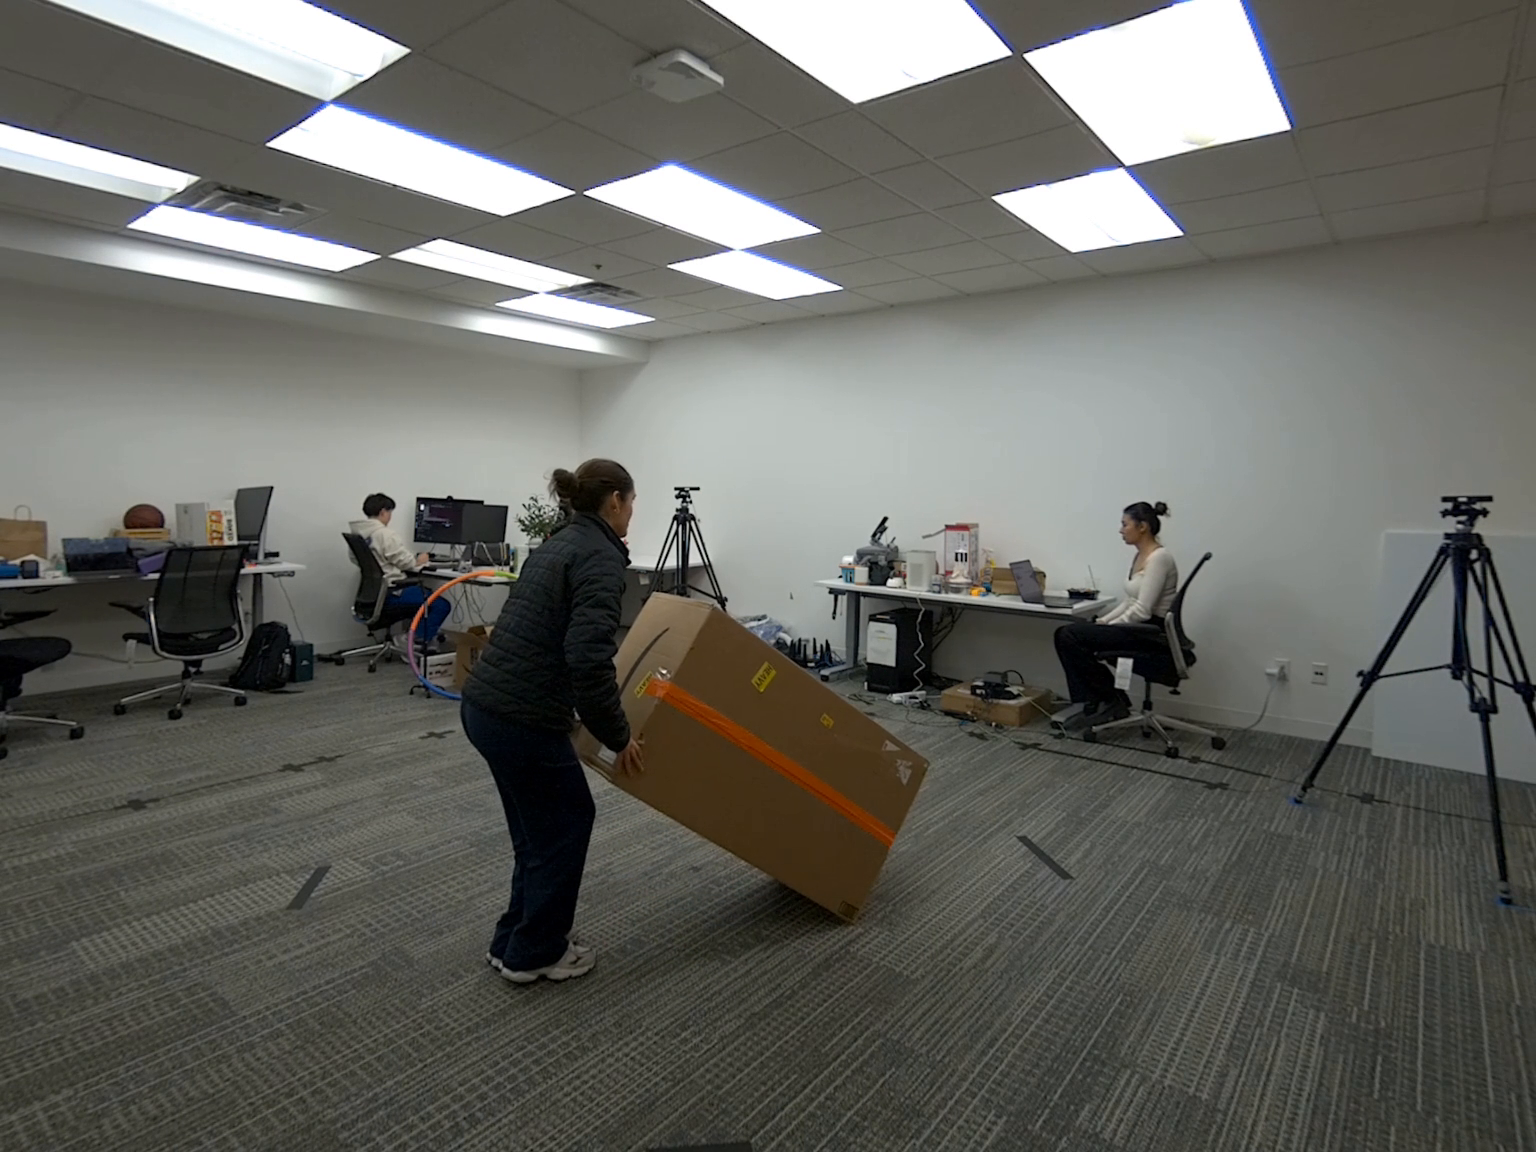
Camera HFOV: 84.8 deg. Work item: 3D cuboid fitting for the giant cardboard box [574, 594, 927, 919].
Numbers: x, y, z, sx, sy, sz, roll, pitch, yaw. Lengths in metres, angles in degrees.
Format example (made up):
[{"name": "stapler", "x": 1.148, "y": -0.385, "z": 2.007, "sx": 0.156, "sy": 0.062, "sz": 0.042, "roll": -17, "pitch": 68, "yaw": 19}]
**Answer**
[{"name": "giant cardboard box", "x": -0.042, "y": 0.574, "z": 2.771, "sx": 0.994, "sy": 0.586, "sz": 0.460, "roll": 38, "pitch": -16, "yaw": -26}]
